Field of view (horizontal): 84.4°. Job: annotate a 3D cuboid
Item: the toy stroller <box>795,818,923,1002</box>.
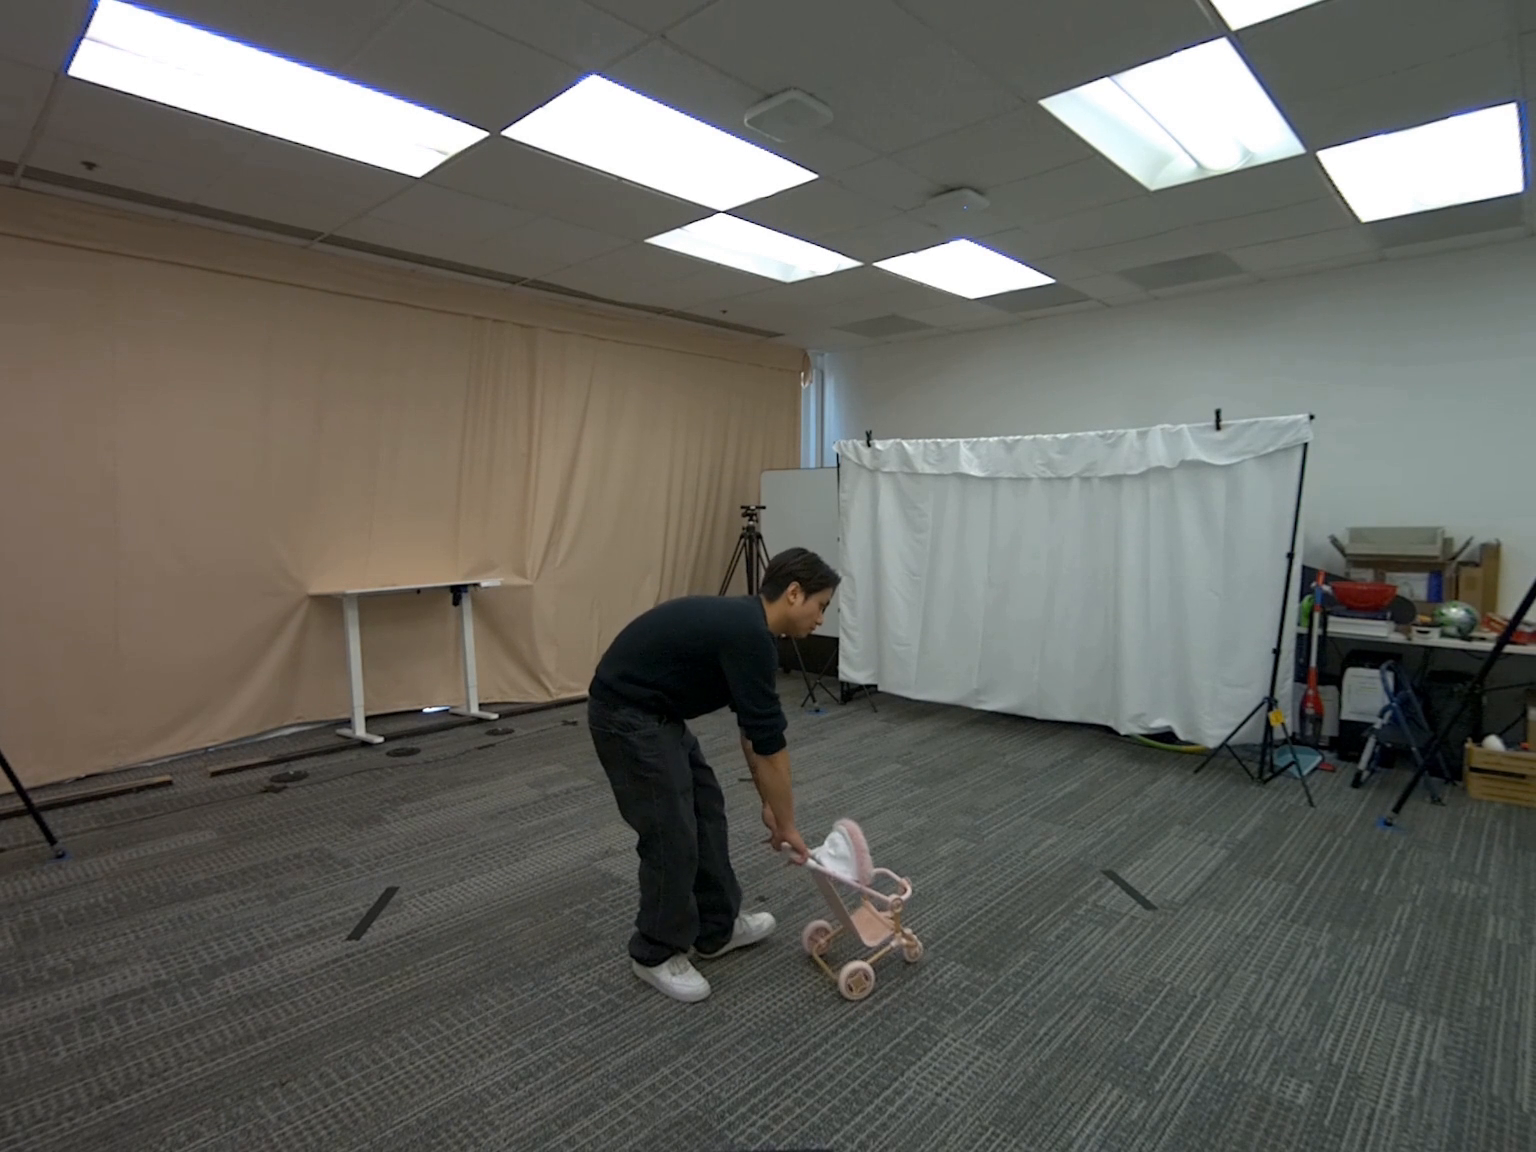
[{"bbox_3d":[0.271,0.964,2.494,0.337,0.531,0.287,-18,8,-14],"label":"toy stroller"}]
